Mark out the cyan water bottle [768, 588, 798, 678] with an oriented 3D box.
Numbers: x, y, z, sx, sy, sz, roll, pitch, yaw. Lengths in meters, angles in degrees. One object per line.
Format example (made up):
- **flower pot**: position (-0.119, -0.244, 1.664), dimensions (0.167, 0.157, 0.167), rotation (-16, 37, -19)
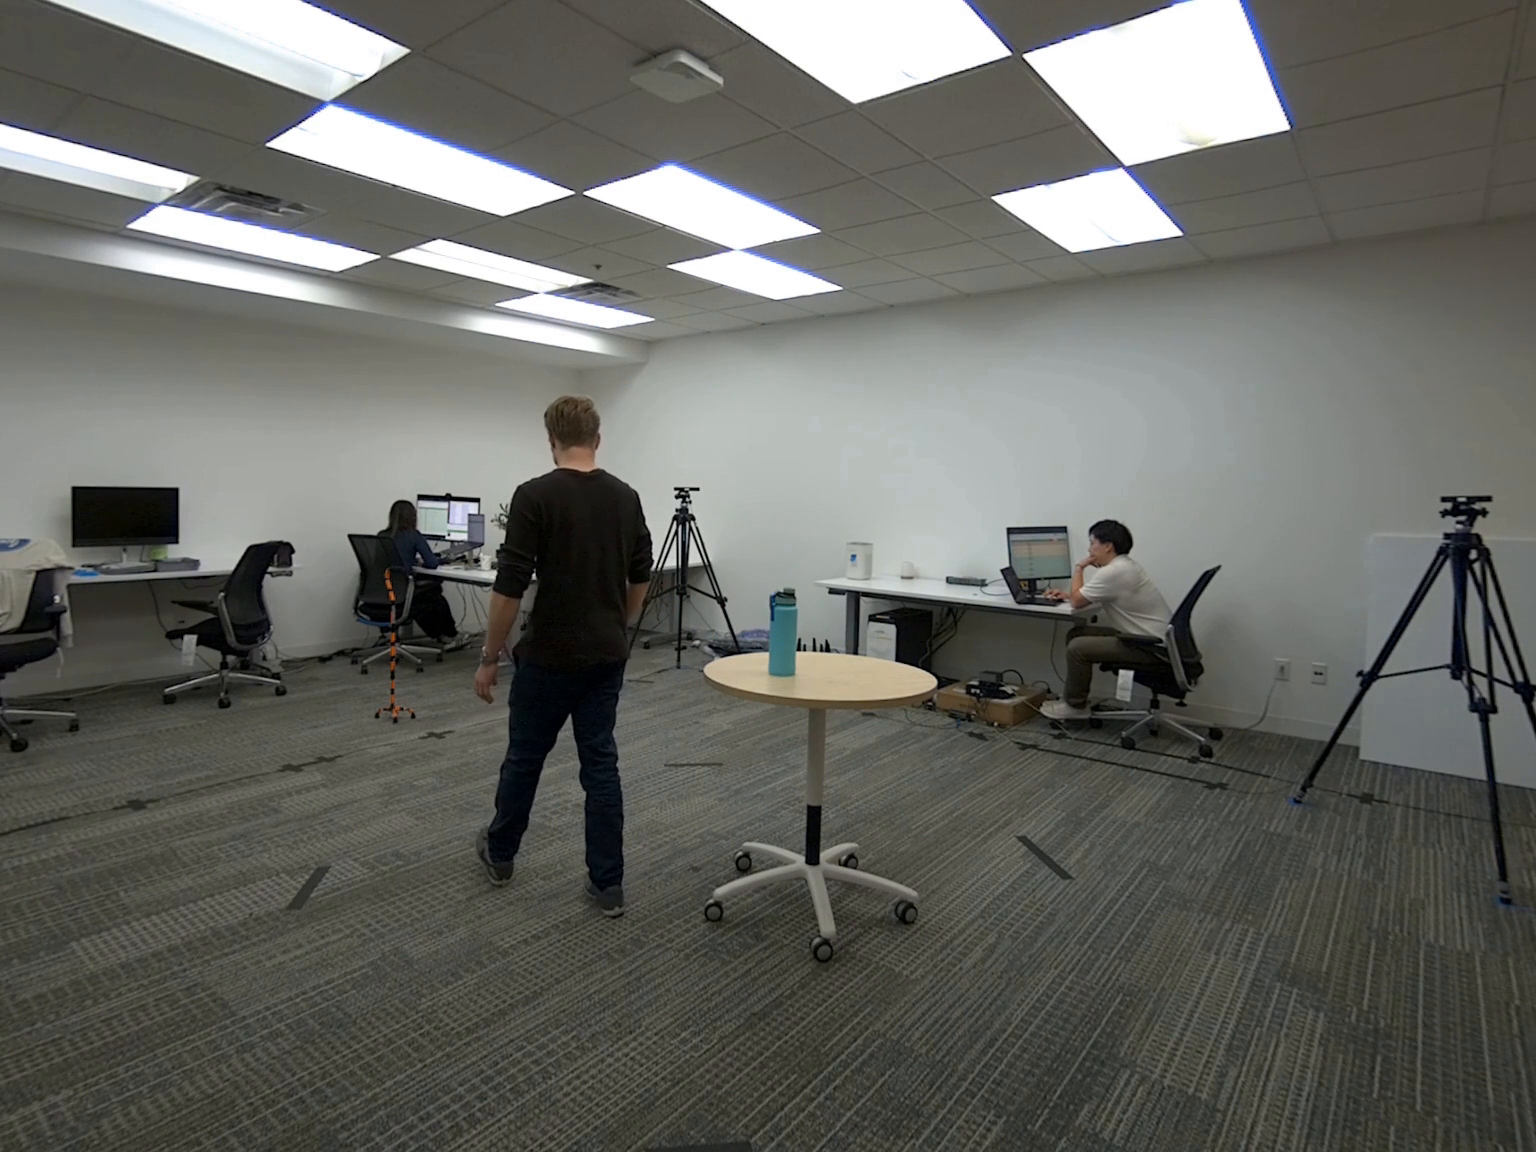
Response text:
- **cyan water bottle**: position (0.040, 0.184, 2.785), dimensions (0.092, 0.282, 0.093), rotation (0, 4, -2)
